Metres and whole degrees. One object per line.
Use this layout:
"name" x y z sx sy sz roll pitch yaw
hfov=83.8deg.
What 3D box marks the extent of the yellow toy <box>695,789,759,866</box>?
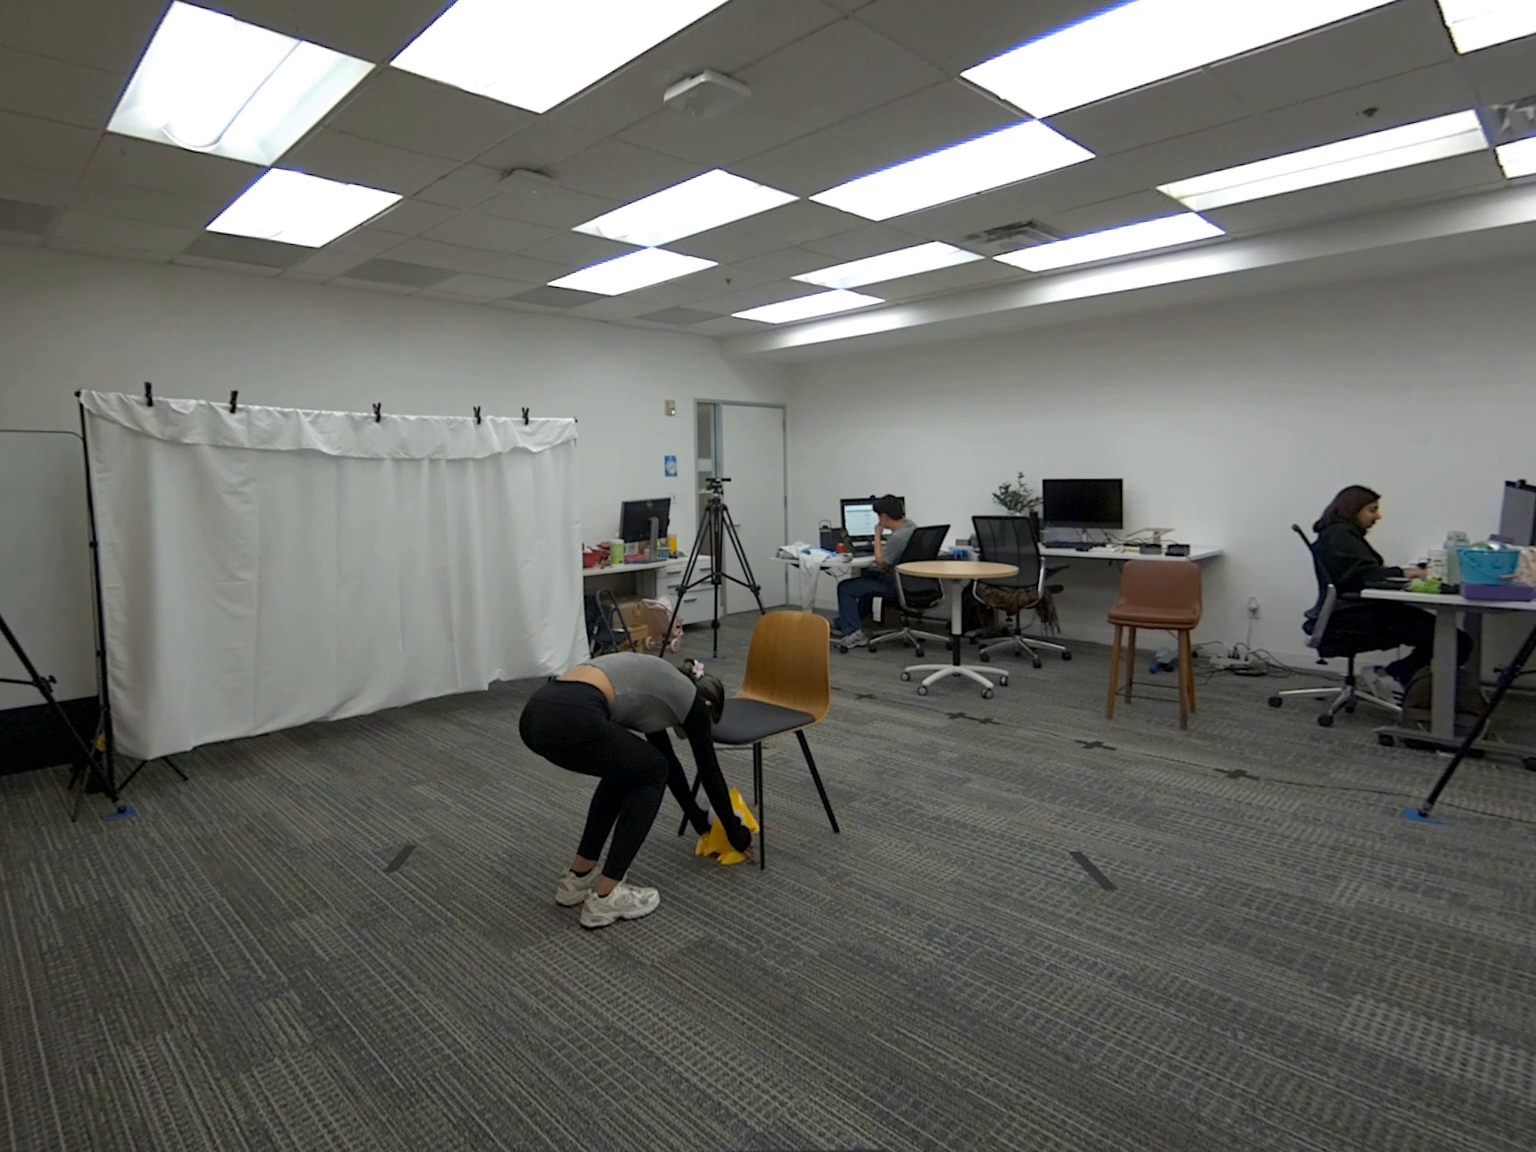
"yellow toy" -0.159 0.925 3.196 0.211 0.230 0.188 3 7 39
